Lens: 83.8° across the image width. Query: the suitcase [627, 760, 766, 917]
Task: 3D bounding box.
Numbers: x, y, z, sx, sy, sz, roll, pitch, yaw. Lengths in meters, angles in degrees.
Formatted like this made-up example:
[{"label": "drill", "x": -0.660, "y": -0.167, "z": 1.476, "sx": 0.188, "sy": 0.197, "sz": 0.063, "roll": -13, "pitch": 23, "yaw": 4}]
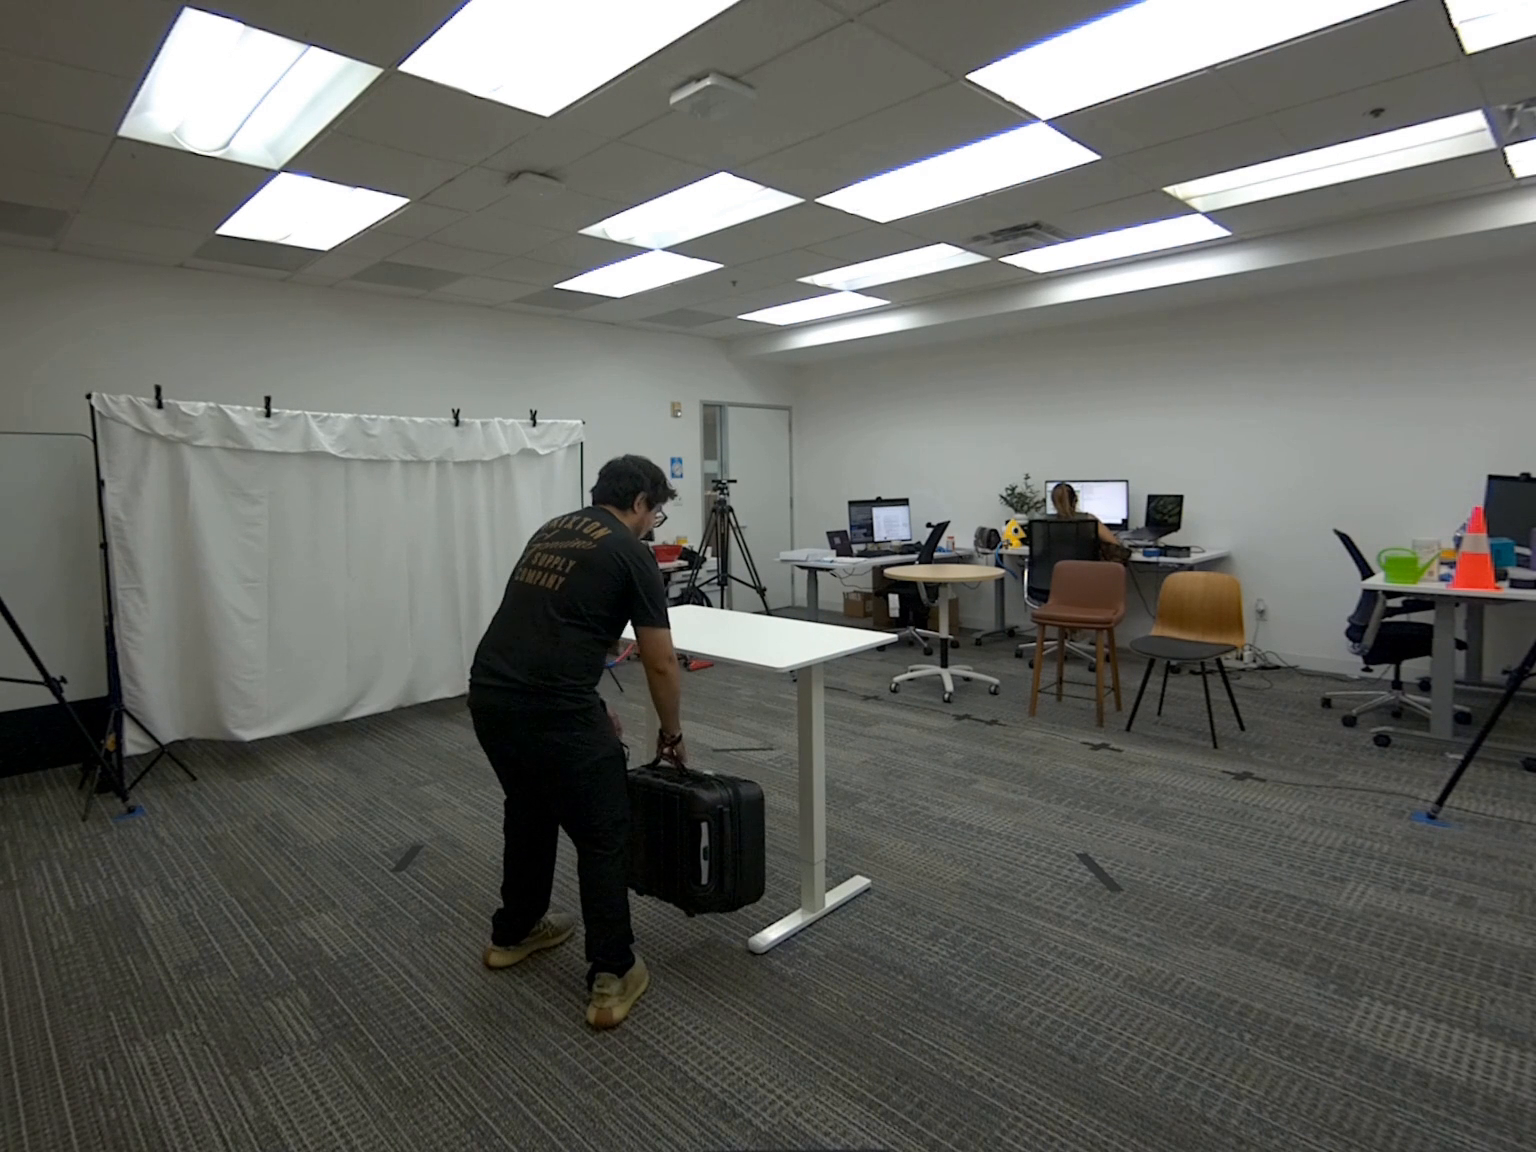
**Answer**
[{"label": "suitcase", "x": -0.244, "y": 0.759, "z": 2.532, "sx": 0.241, "sy": 0.378, "sz": 0.562, "roll": 5, "pitch": -9, "yaw": -39}]
